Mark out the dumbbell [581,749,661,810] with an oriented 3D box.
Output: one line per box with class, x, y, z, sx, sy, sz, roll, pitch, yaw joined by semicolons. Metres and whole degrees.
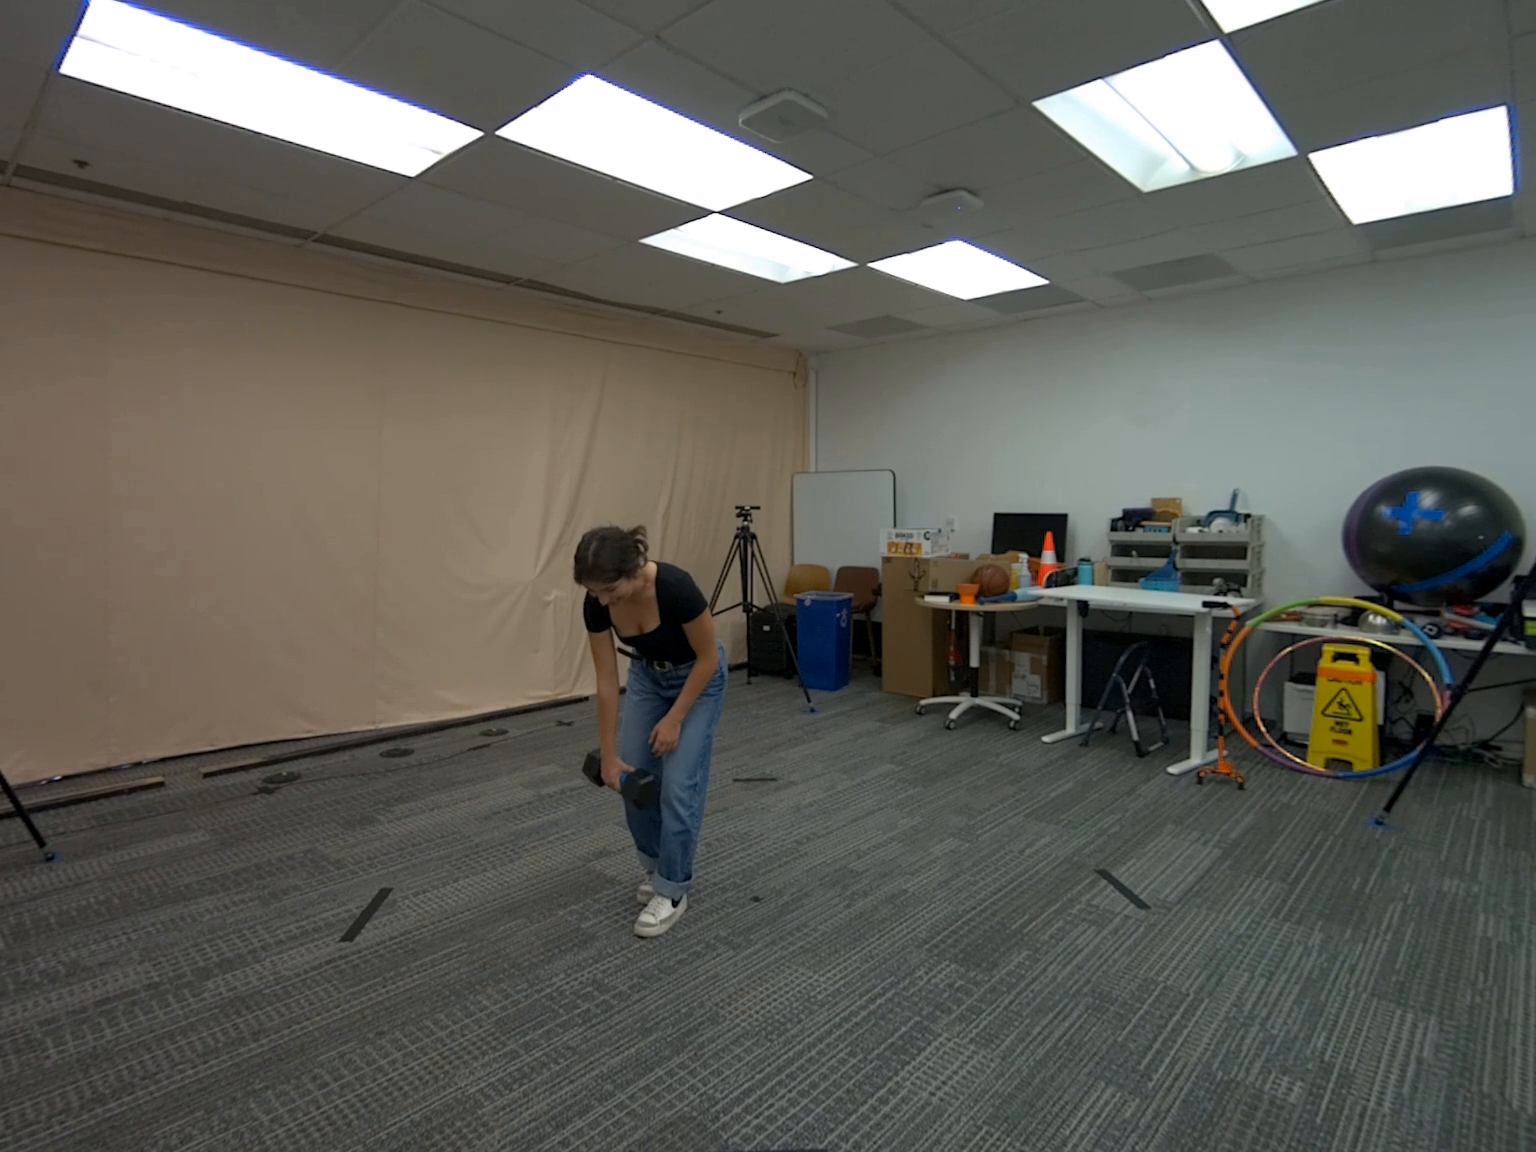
dumbbell;-0.483;0.668;2.788;0.304;0.119;0.108;12;50;42
